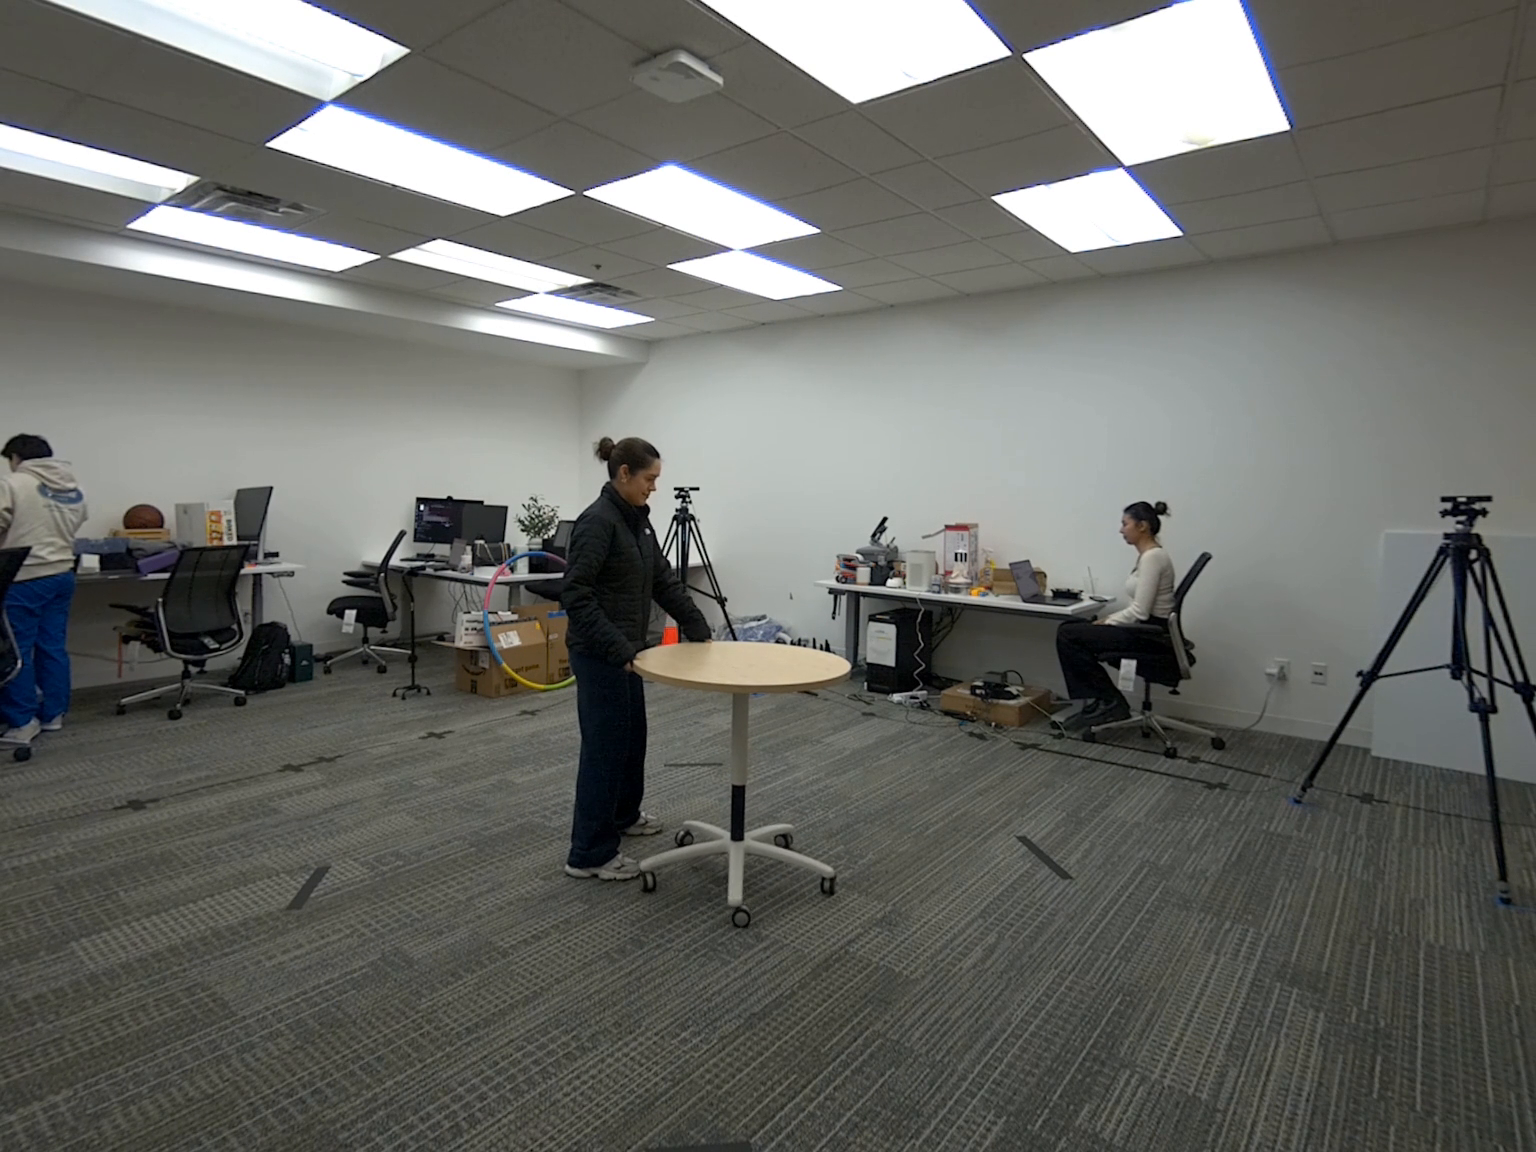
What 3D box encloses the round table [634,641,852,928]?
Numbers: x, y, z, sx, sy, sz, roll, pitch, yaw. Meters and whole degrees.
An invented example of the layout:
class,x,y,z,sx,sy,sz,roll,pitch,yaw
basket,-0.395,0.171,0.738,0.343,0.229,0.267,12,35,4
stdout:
class,x,y,z,sx,sy,sz,roll,pitch,yaw
round table,-0.077,0.682,3.021,0.784,0.784,0.789,1,5,-2
